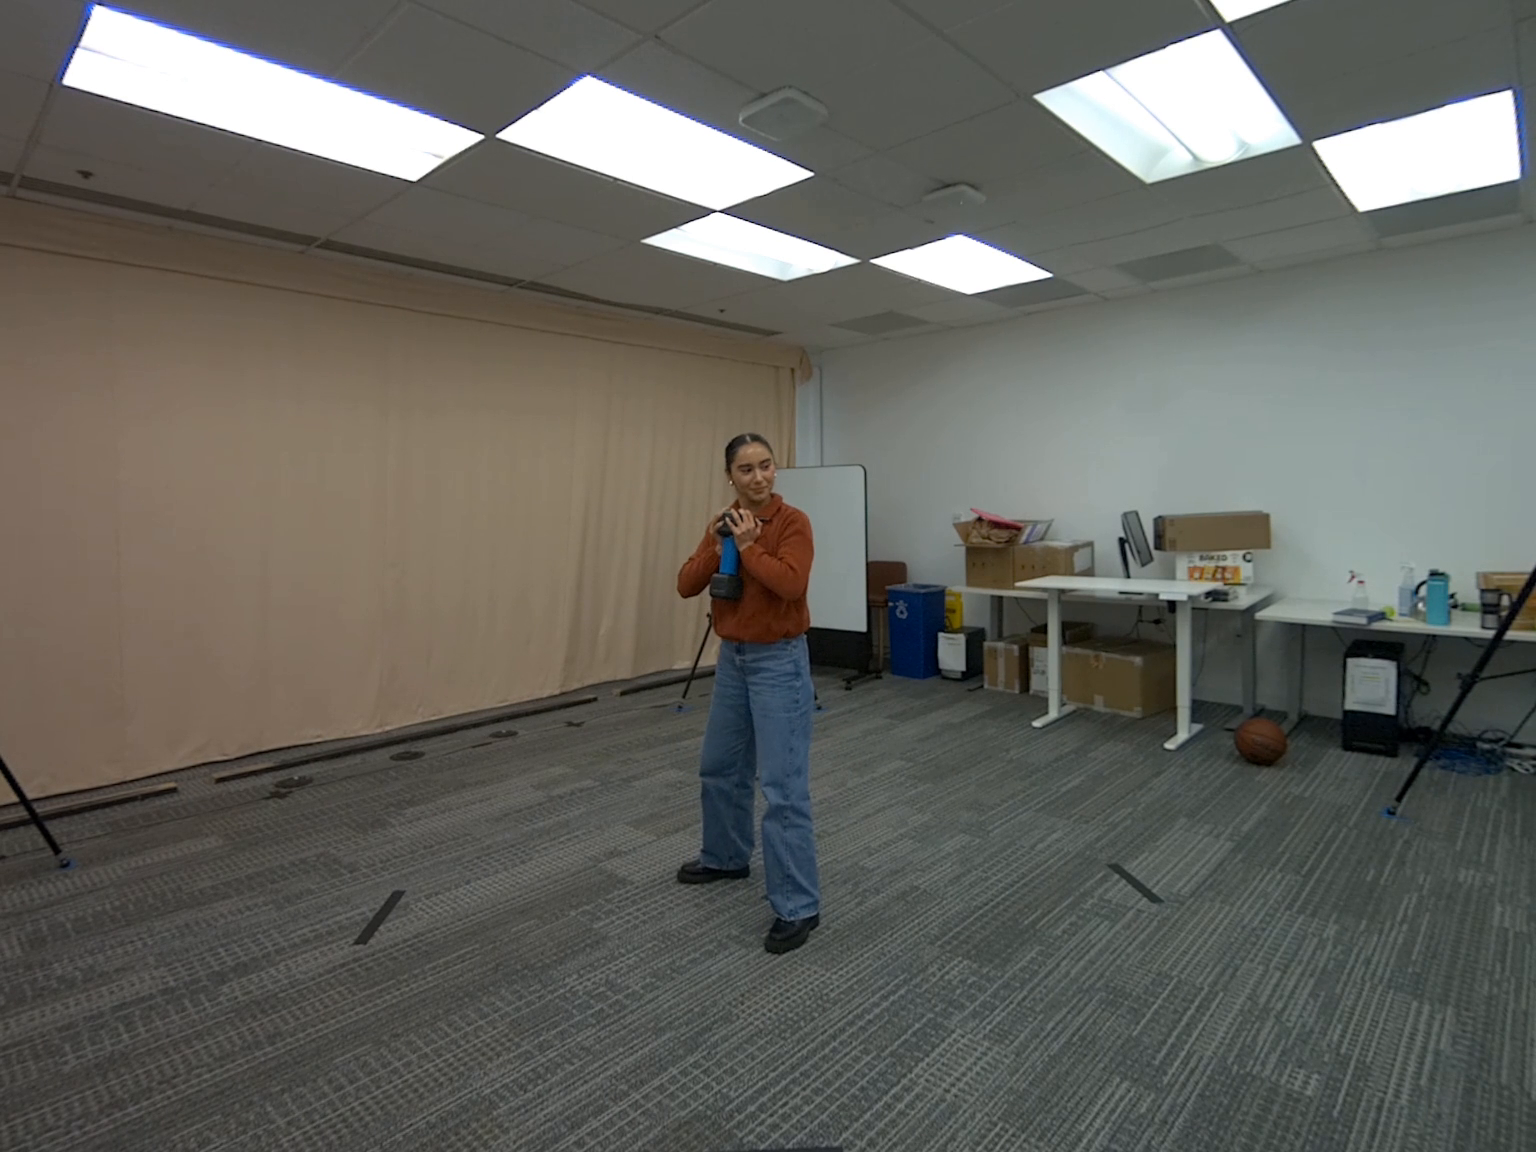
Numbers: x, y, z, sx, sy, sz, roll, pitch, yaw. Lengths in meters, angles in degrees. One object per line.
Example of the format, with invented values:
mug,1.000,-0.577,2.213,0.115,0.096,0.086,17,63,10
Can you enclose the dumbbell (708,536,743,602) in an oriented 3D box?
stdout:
dumbbell,-0.127,-0.061,2.822,0.126,0.294,0.105,4,-5,26
